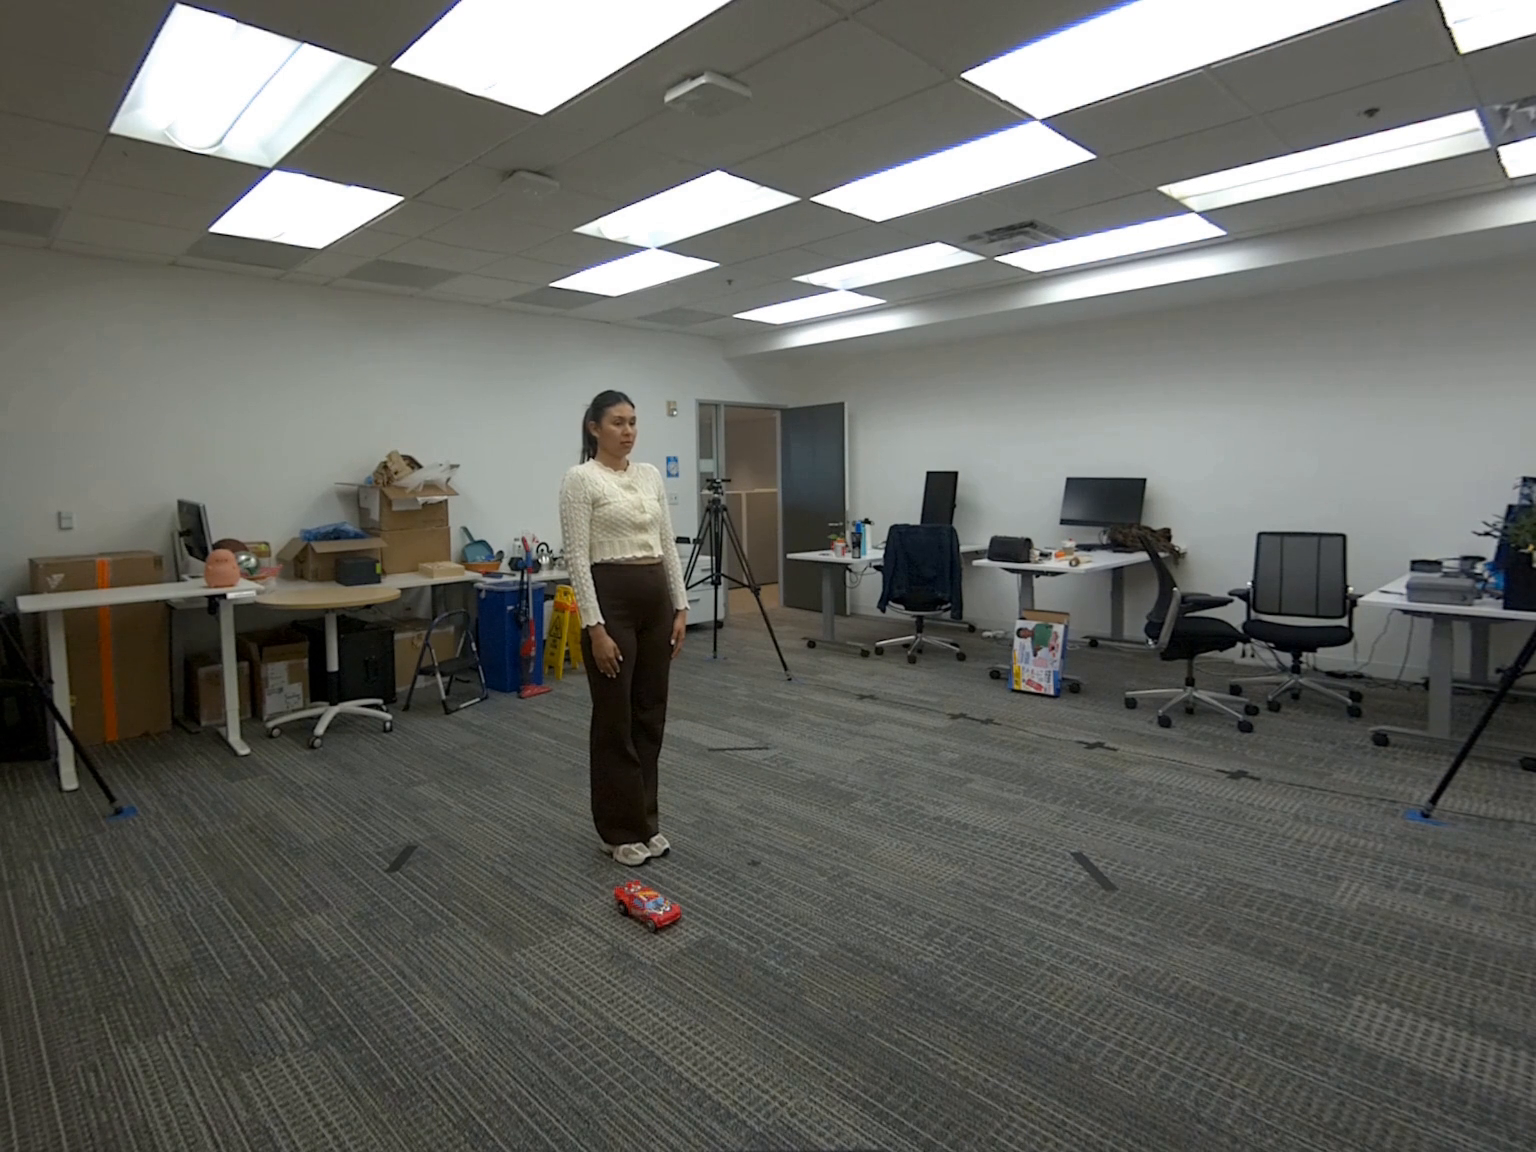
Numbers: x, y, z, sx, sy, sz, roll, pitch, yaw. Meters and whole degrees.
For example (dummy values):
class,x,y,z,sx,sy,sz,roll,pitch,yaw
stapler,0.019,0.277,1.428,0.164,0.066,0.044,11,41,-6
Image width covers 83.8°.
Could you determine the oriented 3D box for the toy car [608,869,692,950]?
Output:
class,x,y,z,sx,sy,sz,roll,pitch,yaw
toy car,-0.383,1.062,2.748,0.127,0.082,0.264,-8,19,-44
